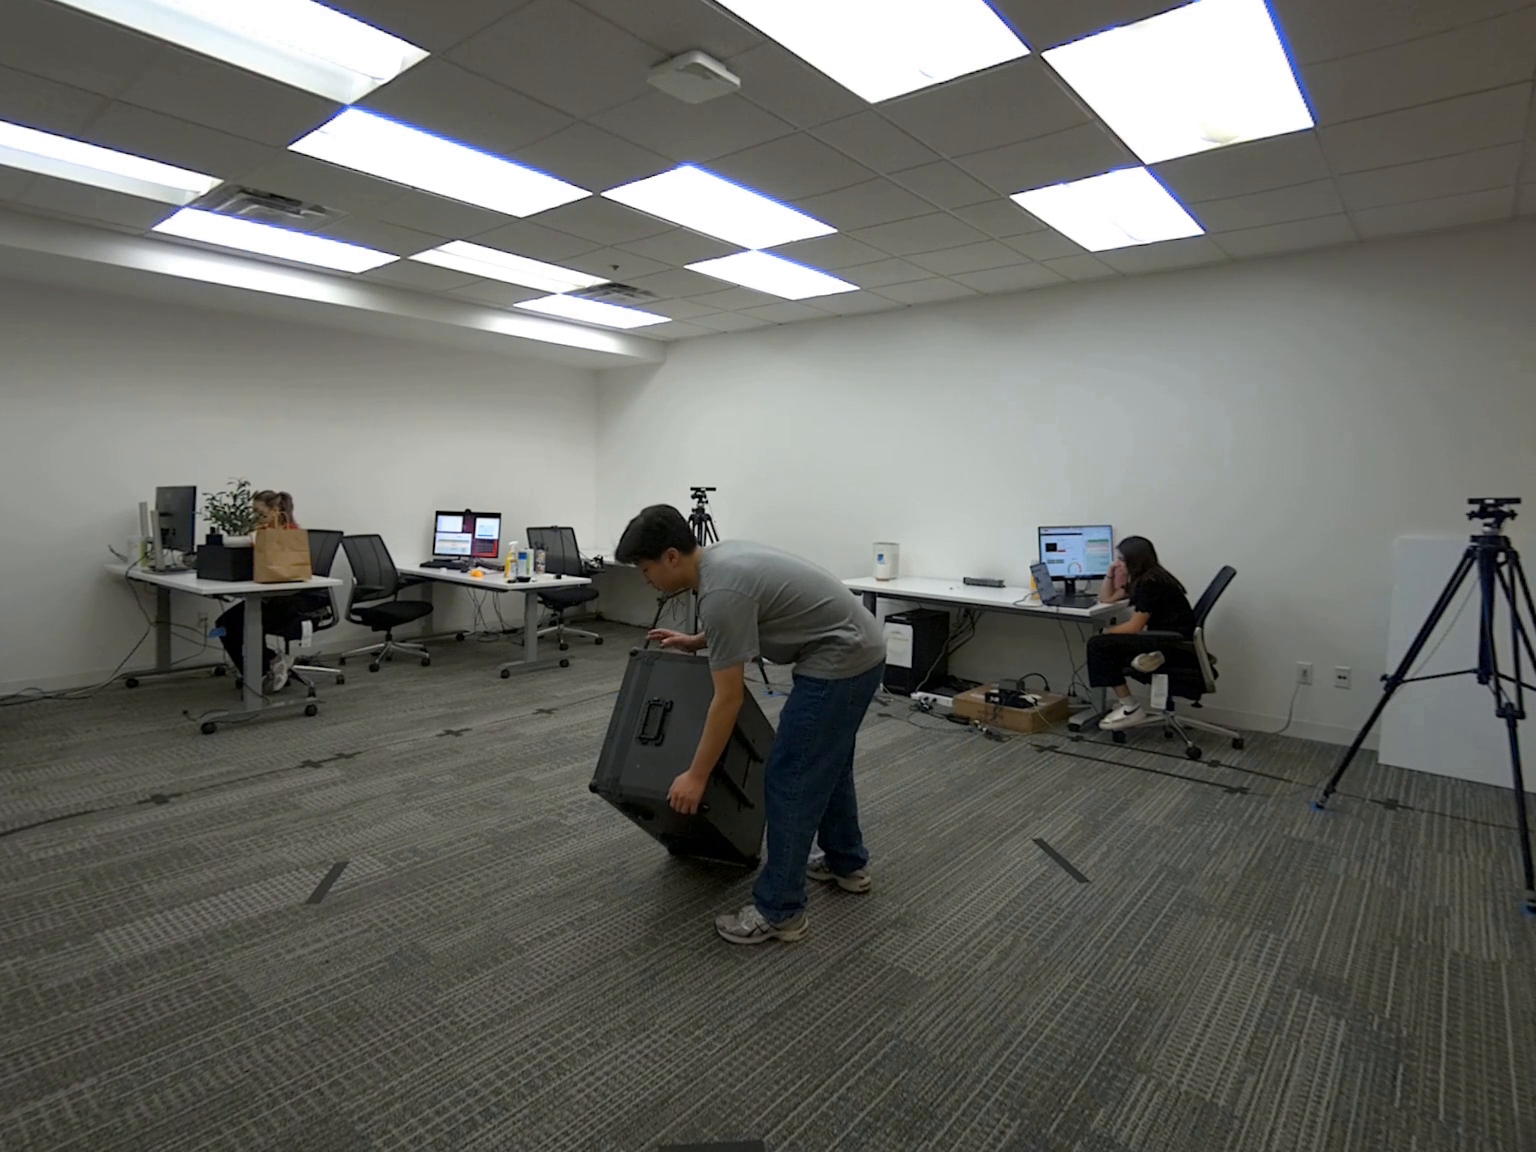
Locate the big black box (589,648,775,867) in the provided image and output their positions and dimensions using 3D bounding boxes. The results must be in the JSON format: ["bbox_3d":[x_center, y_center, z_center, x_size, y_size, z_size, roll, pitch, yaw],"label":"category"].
[{"bbox_3d":[-0.244,0.670,3.020,0.405,0.530,0.829,3,-31,19],"label":"big black box"}]
